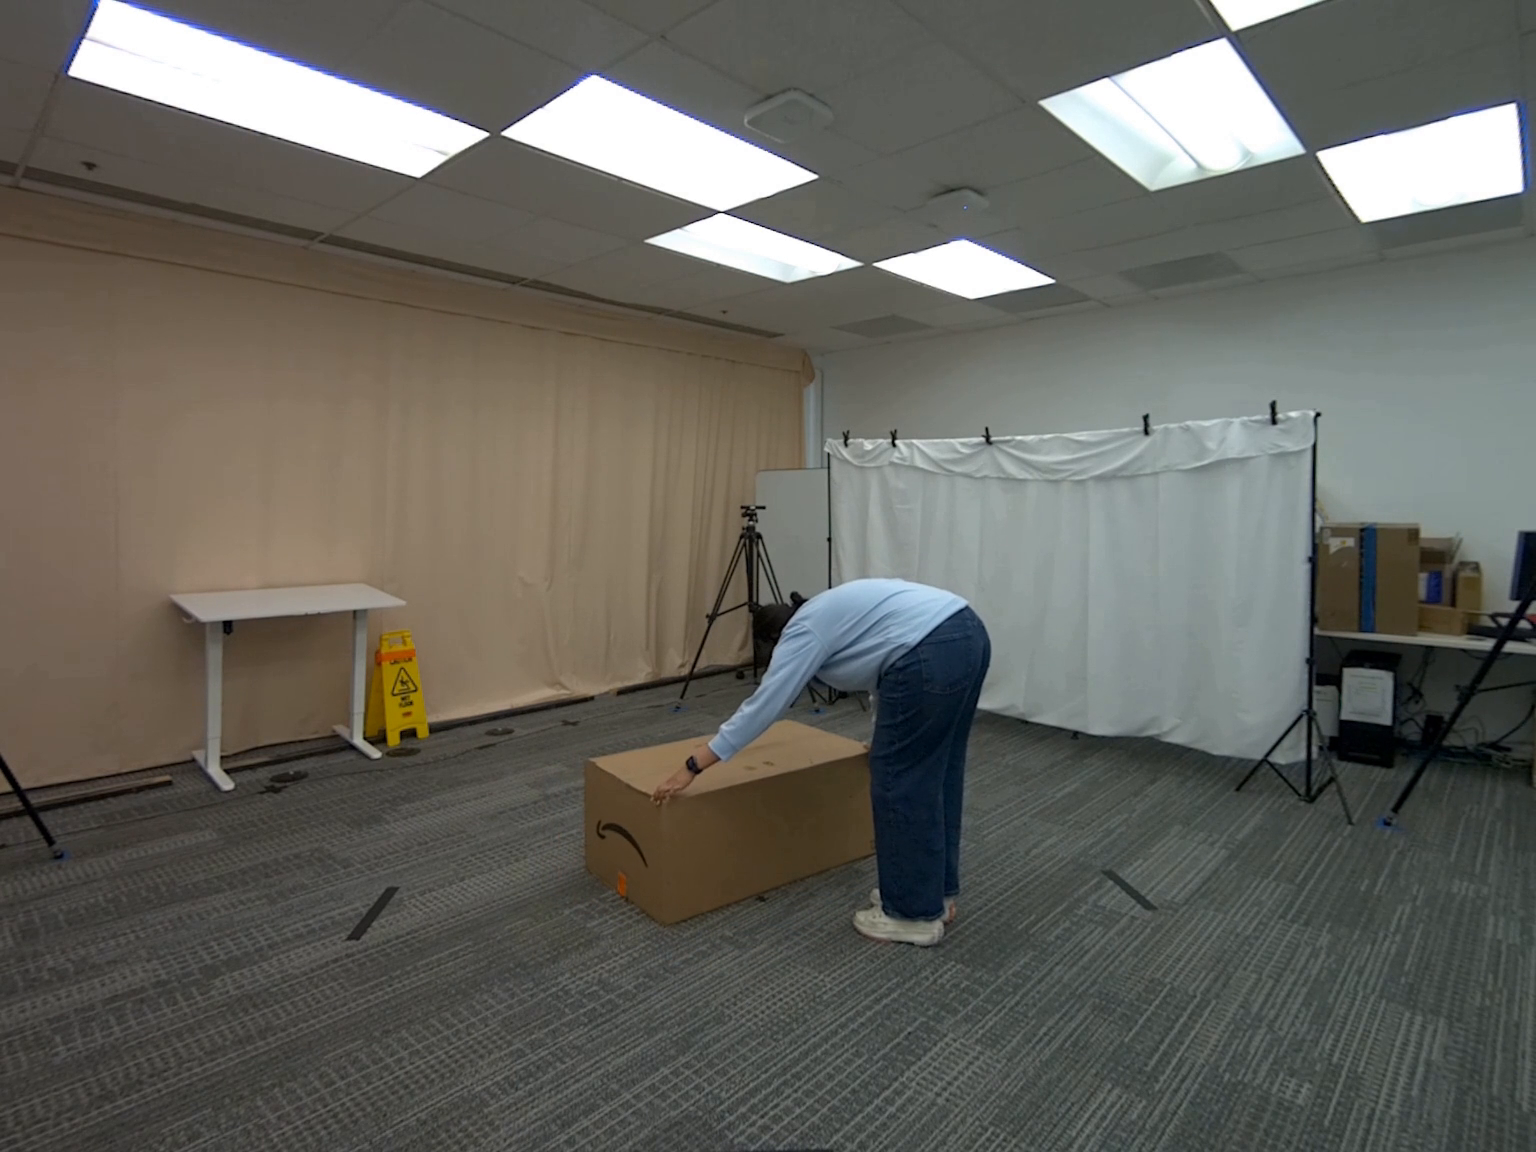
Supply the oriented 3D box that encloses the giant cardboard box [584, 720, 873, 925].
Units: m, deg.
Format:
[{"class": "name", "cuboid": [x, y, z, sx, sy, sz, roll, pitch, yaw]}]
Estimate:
[{"class": "giant cardboard box", "cuboid": [-0.129, 0.909, 3.300, 0.995, 0.425, 0.596, -3, 6, -37]}]
